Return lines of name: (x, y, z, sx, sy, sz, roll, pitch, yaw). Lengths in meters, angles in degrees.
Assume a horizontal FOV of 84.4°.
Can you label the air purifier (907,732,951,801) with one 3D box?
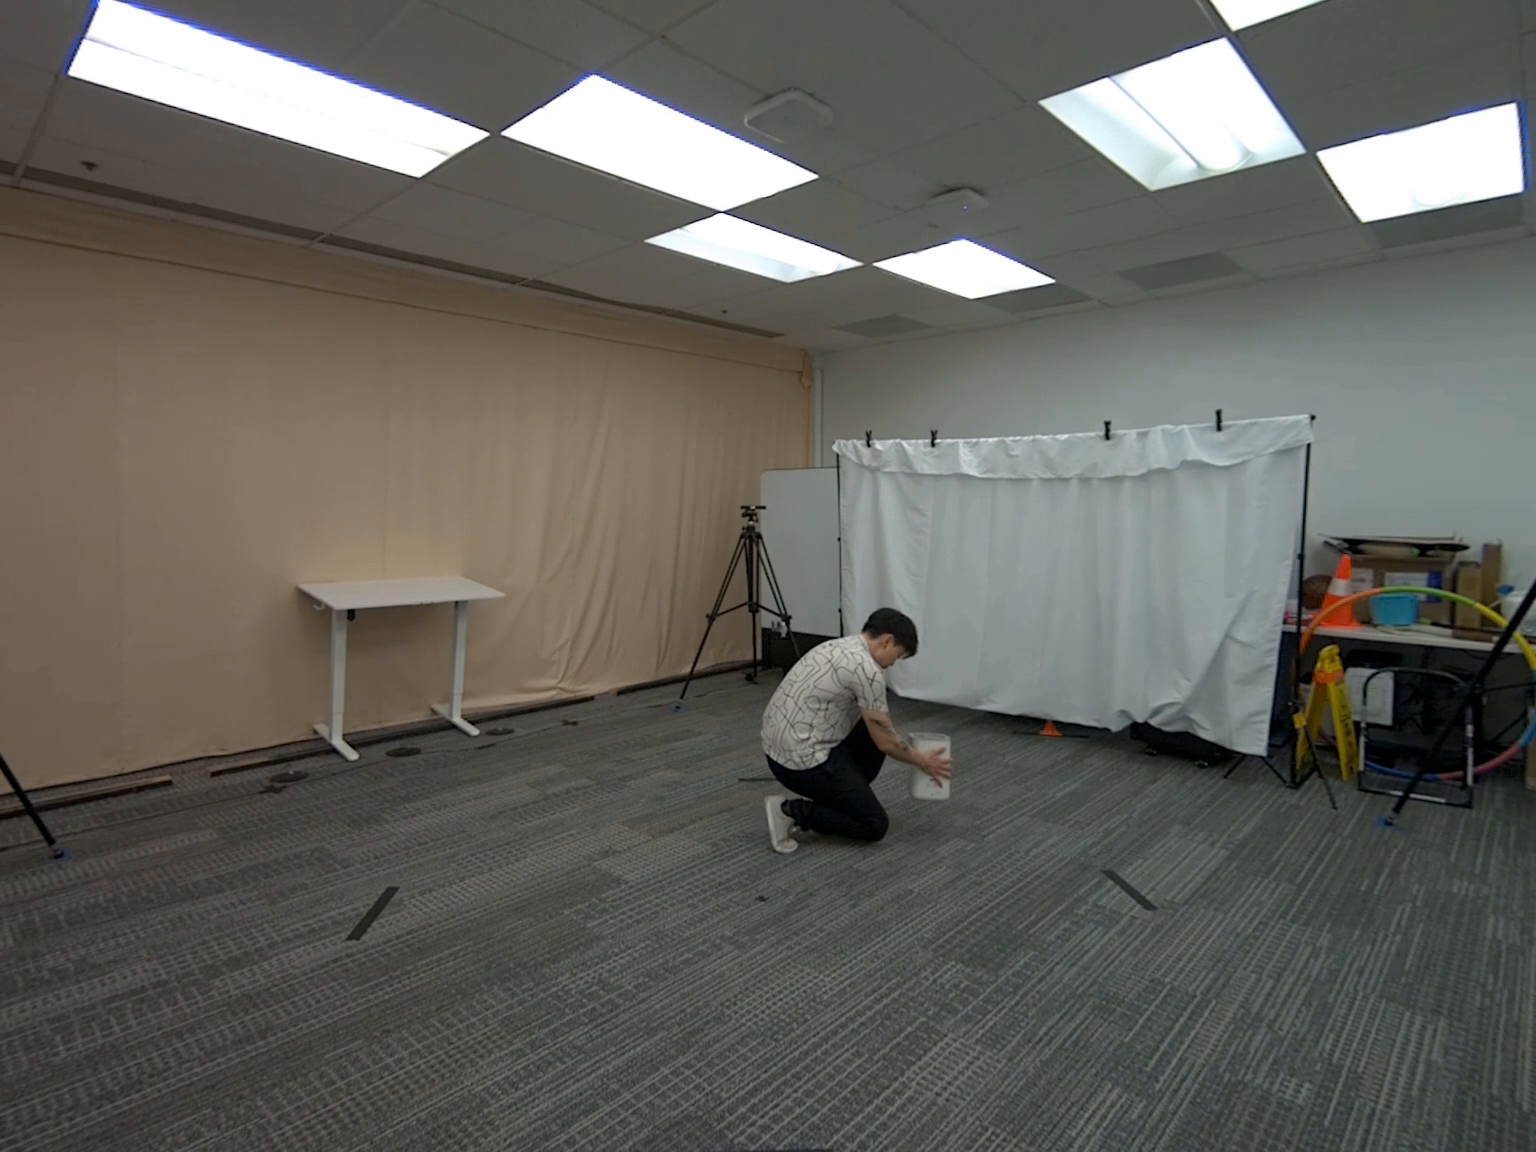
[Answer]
air purifier: (0.701, 0.823, 3.643, 0.172, 0.266, 0.171, 2, -3, -1)
